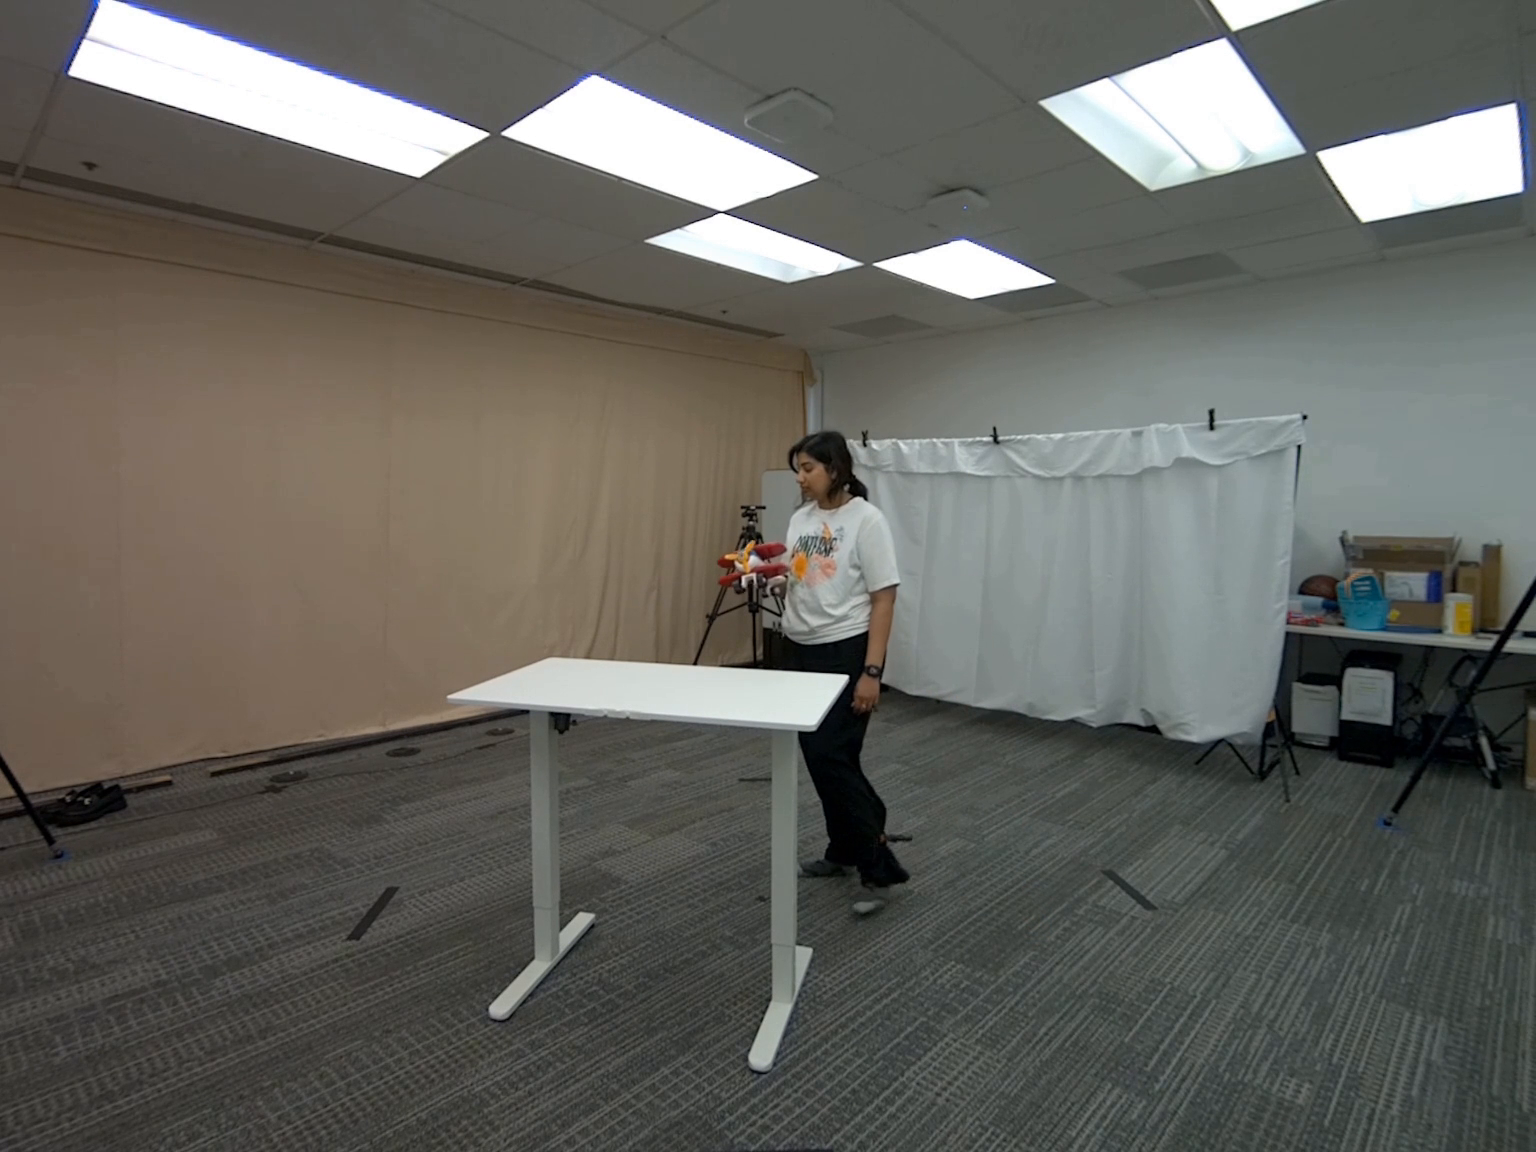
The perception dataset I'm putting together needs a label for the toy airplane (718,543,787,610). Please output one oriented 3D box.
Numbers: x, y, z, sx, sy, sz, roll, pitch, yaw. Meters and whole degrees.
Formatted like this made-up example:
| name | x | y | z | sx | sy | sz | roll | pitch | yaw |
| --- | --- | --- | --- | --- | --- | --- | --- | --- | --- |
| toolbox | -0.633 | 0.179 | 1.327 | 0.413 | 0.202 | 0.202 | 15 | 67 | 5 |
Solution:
| name | x | y | z | sx | sy | sz | roll | pitch | yaw |
| --- | --- | --- | --- | --- | --- | --- | --- | --- | --- |
| toy airplane | -0.053 | -0.006 | 2.964 | 0.250 | 0.158 | 0.258 | -9 | -13 | -6 |
